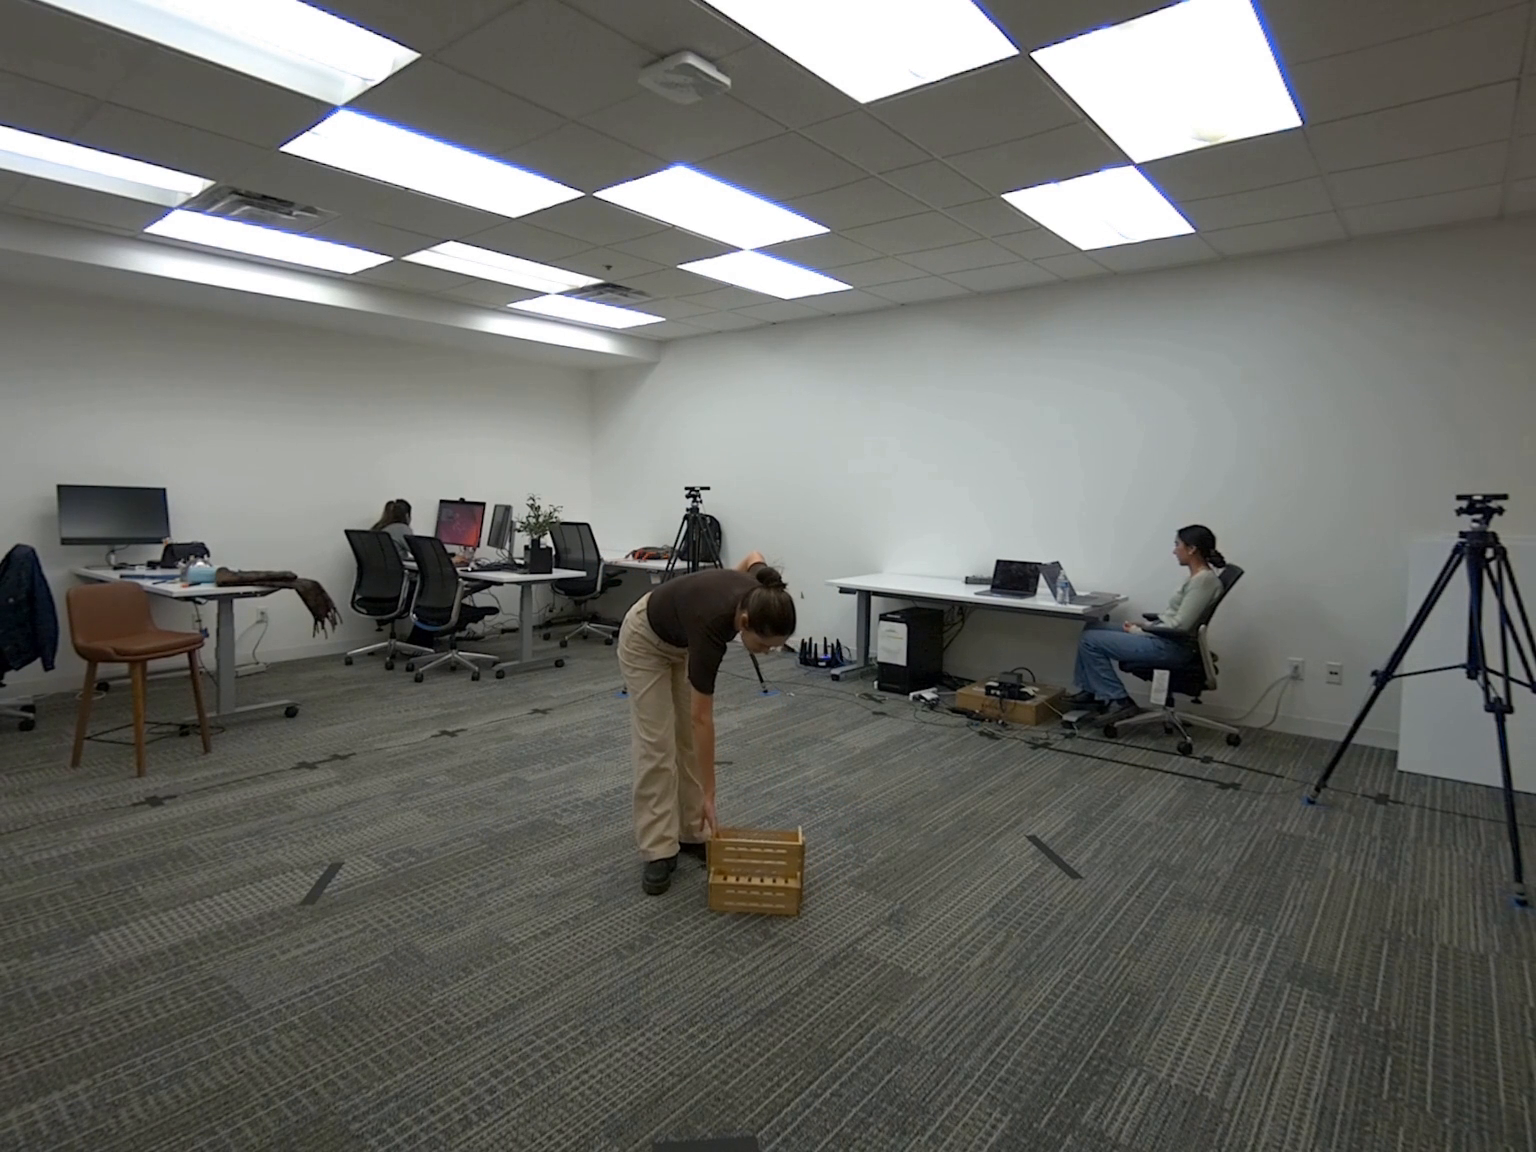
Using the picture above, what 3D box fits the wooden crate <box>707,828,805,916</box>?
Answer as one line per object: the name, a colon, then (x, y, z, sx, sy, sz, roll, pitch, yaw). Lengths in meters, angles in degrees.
wooden crate: (-0.052, 0.954, 2.879, 0.326, 0.272, 0.302, 1, 4, 2)
